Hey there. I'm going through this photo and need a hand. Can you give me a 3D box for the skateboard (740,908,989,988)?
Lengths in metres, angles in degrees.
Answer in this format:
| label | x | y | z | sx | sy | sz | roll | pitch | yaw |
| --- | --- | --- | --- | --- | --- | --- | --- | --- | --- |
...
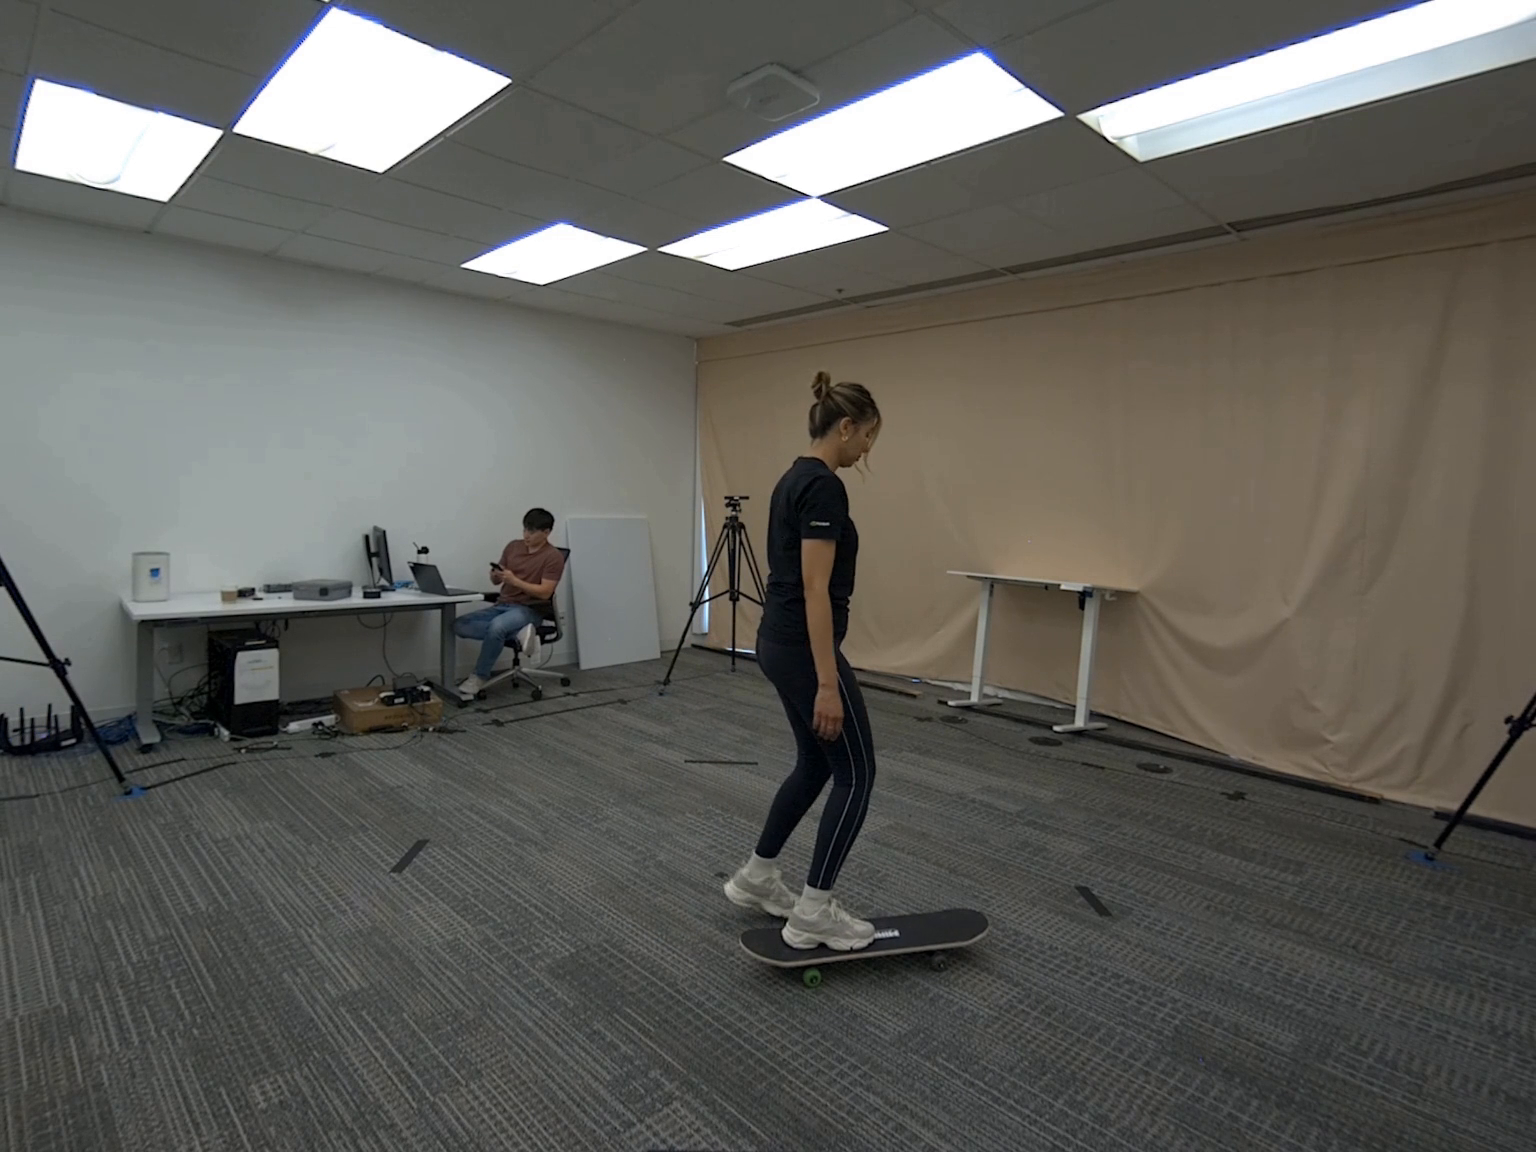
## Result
| label | x | y | z | sx | sy | sz | roll | pitch | yaw |
| --- | --- | --- | --- | --- | --- | --- | --- | --- | --- |
| skateboard | 0.302 | 1.117 | 2.528 | 0.777 | 0.110 | 0.196 | 0 | 5 | -13 |
